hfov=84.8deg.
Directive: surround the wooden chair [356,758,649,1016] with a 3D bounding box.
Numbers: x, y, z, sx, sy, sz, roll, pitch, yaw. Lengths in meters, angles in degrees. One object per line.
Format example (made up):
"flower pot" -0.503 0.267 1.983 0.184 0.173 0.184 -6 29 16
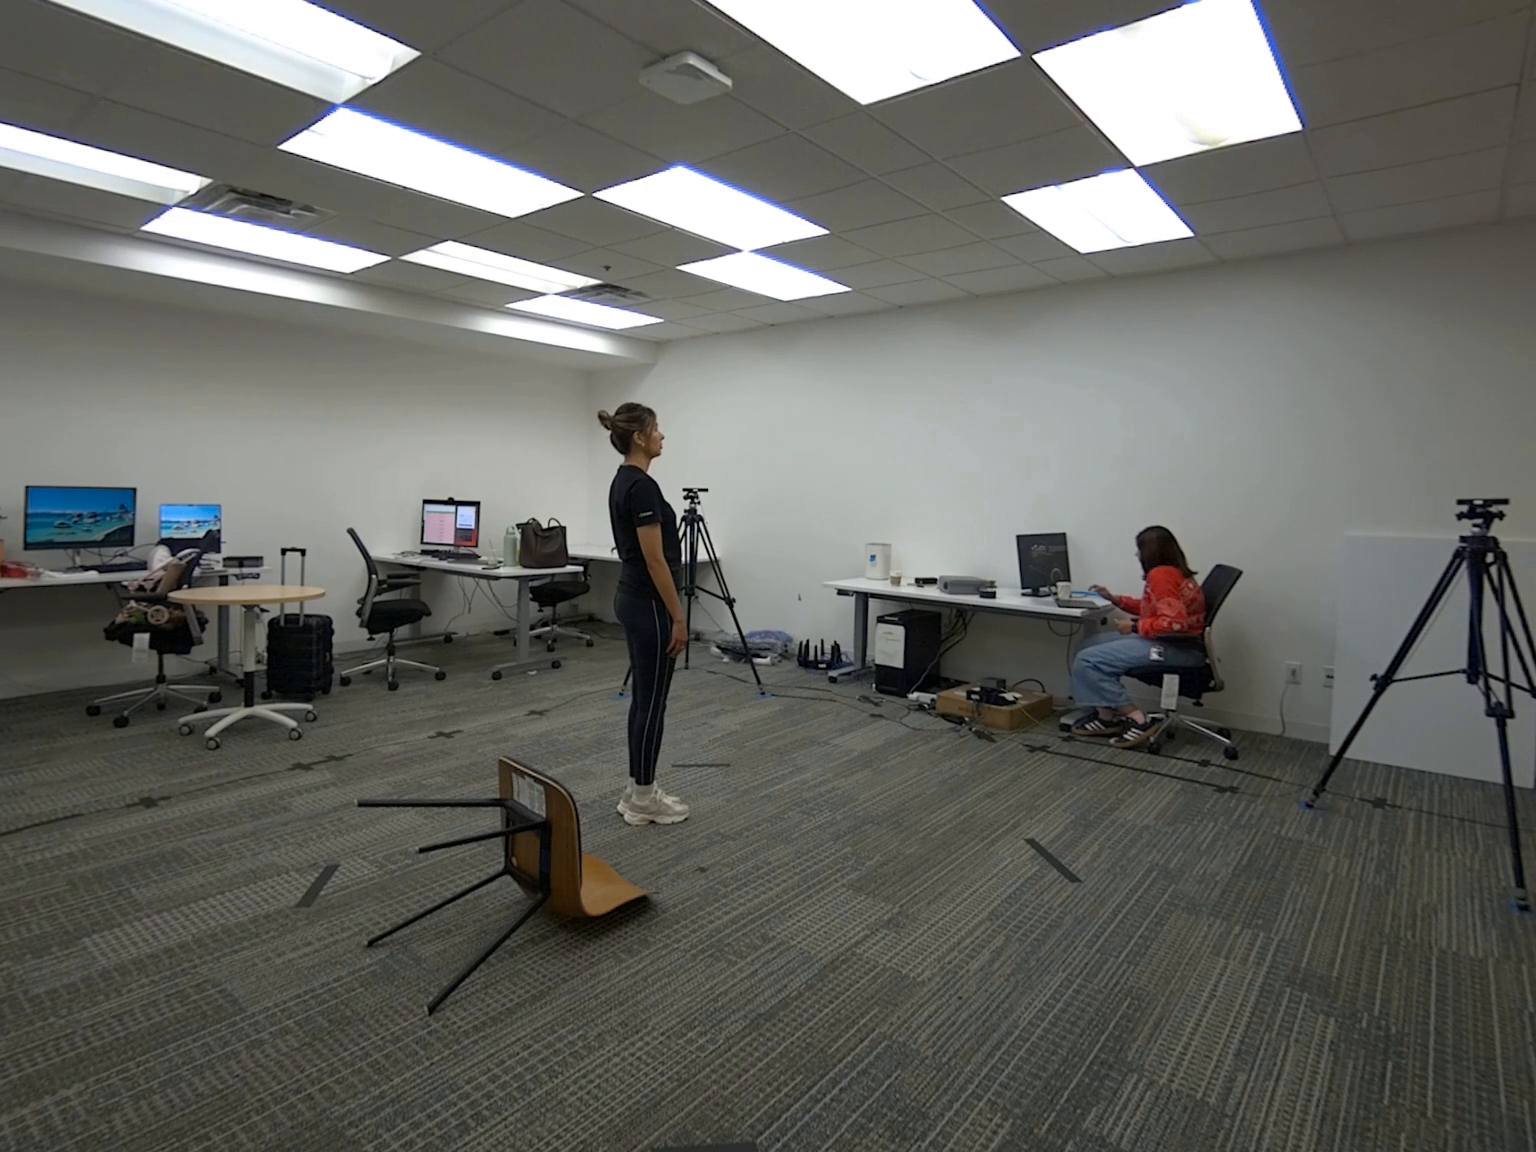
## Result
"wooden chair" -0.754 0.842 2.657 0.850 0.521 0.494 -3 6 -44
